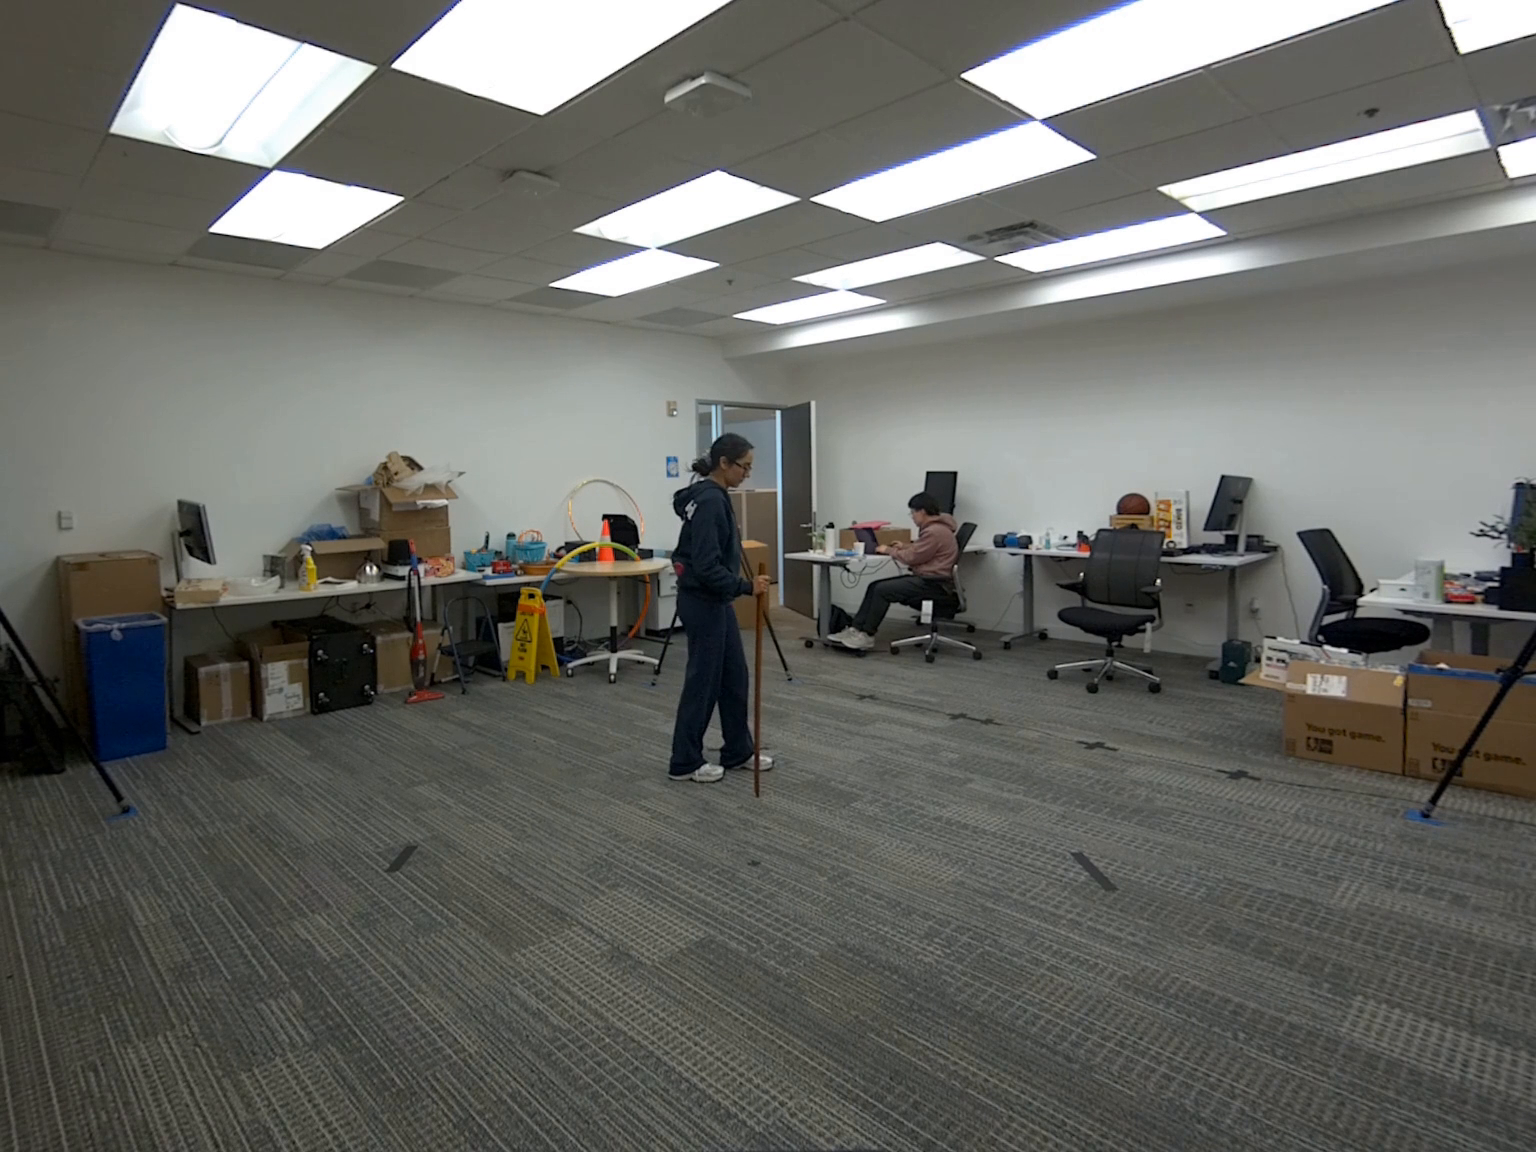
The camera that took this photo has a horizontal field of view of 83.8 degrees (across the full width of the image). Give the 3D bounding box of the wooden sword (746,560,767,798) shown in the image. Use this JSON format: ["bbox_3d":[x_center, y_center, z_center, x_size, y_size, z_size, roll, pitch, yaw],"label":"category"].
[{"bbox_3d":[-0.041,0.480,3.804,0.023,1.028,0.052,3,-4,-37],"label":"wooden sword"}]
